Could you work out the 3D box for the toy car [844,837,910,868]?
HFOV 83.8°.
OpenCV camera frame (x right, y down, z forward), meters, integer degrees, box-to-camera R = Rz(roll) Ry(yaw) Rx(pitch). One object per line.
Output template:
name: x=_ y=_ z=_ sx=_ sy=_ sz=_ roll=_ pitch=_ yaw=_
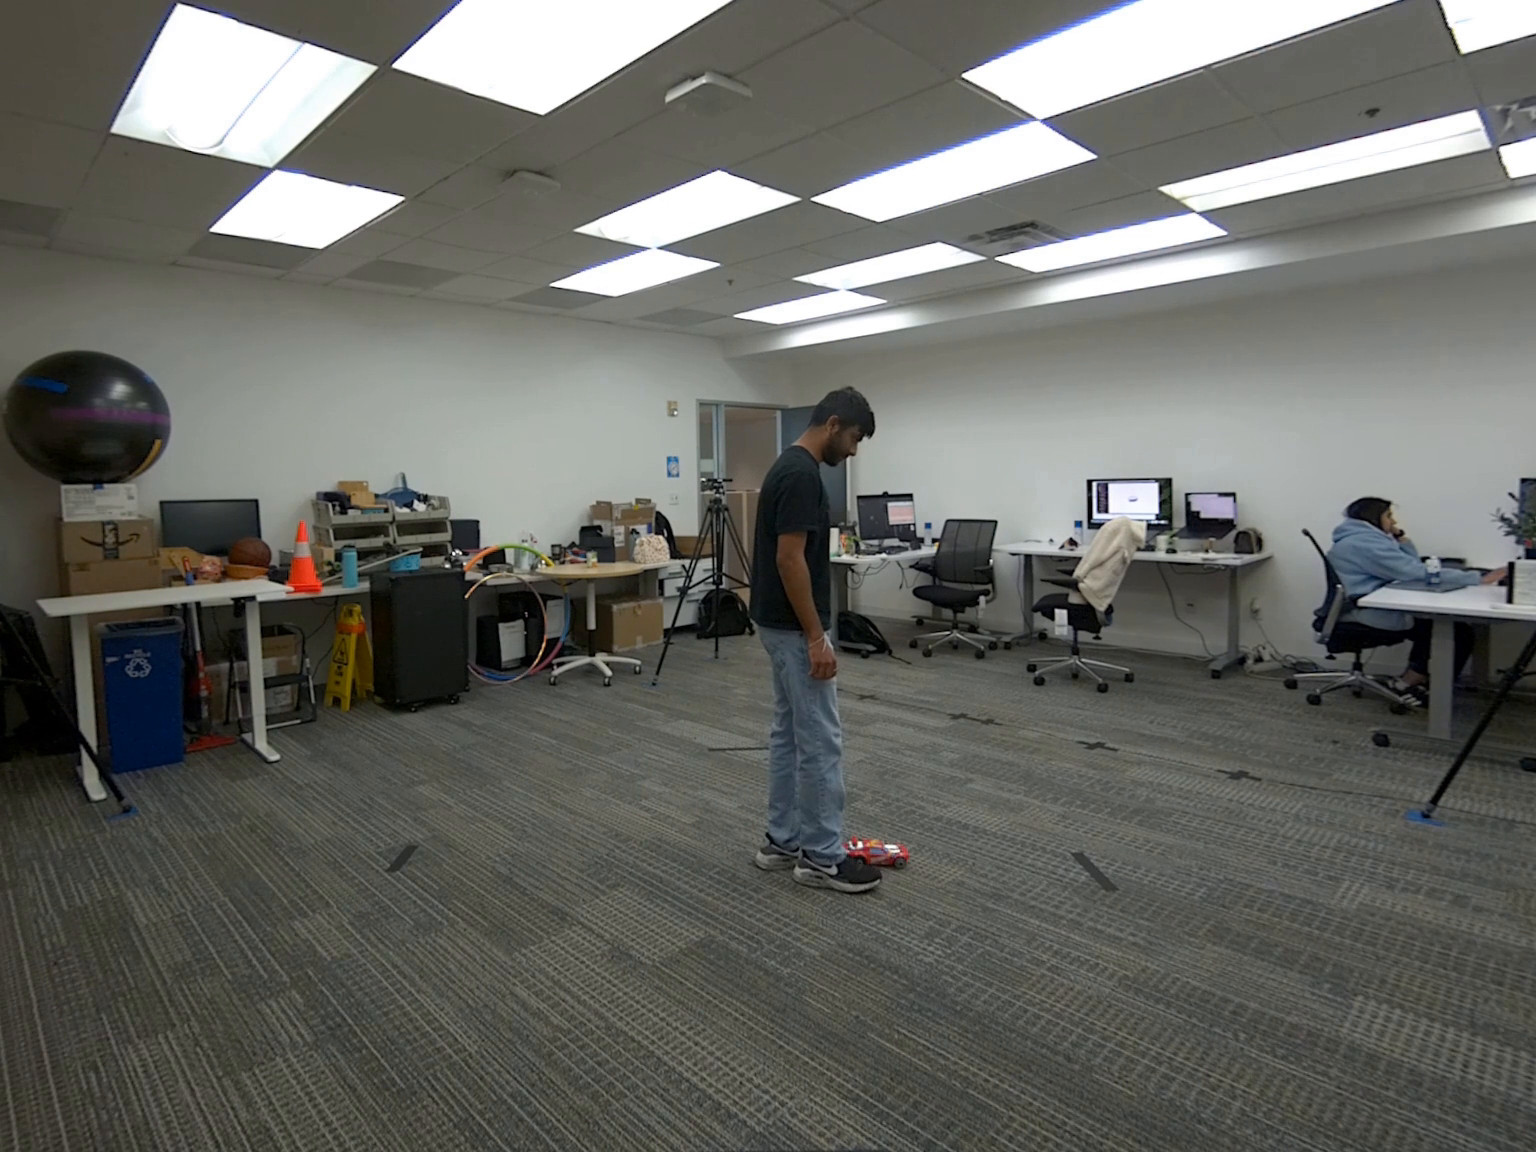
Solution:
toy car: x=0.374 y=0.999 z=3.092 sx=0.255 sy=0.083 sz=0.131 roll=11 pitch=6 yaw=1
